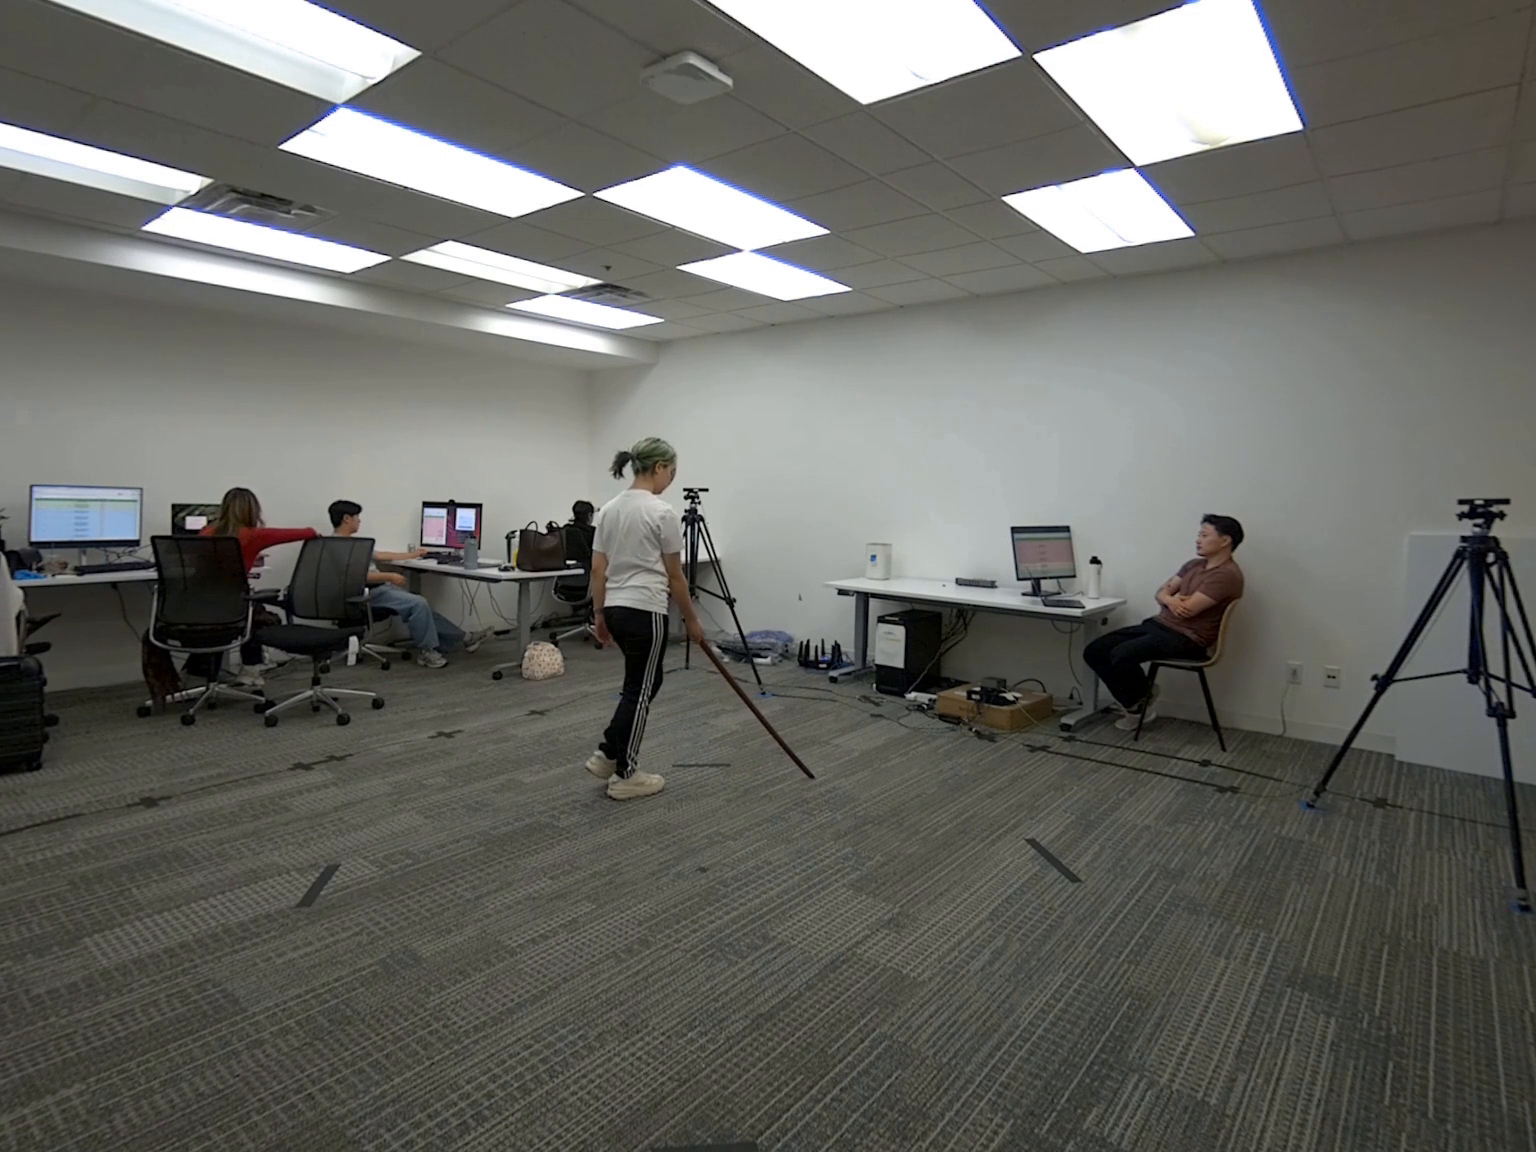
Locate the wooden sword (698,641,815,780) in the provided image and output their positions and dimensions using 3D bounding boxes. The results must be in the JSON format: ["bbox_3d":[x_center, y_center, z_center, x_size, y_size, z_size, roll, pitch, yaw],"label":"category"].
[{"bbox_3d":[-0.105,0.589,4.046,0.024,1.006,0.052,-37,13,6],"label":"wooden sword"}]
